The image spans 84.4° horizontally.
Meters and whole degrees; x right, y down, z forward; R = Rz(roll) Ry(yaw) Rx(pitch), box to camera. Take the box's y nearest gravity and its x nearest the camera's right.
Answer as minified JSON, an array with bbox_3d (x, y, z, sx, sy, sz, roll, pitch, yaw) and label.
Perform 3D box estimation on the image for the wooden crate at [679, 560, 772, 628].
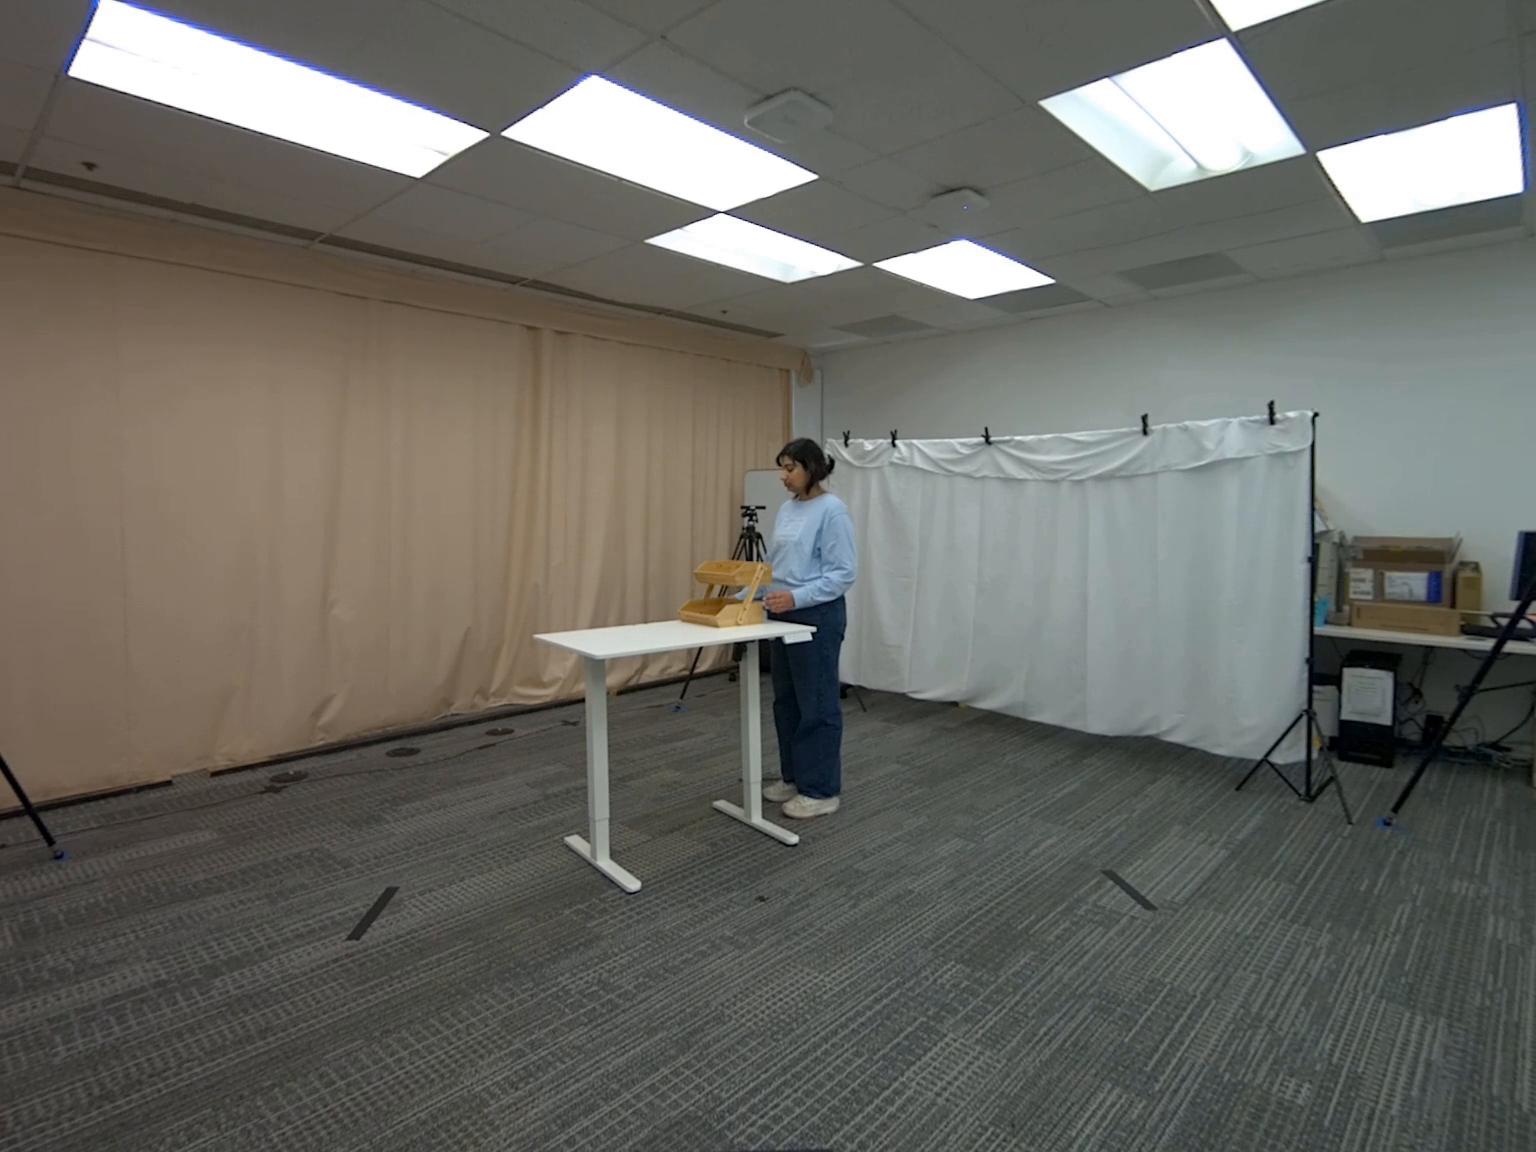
[{"bbox_3d":[-0.190,0.071,3.711,0.293,0.273,0.334,-3,3,-37],"label":"wooden crate"}]
